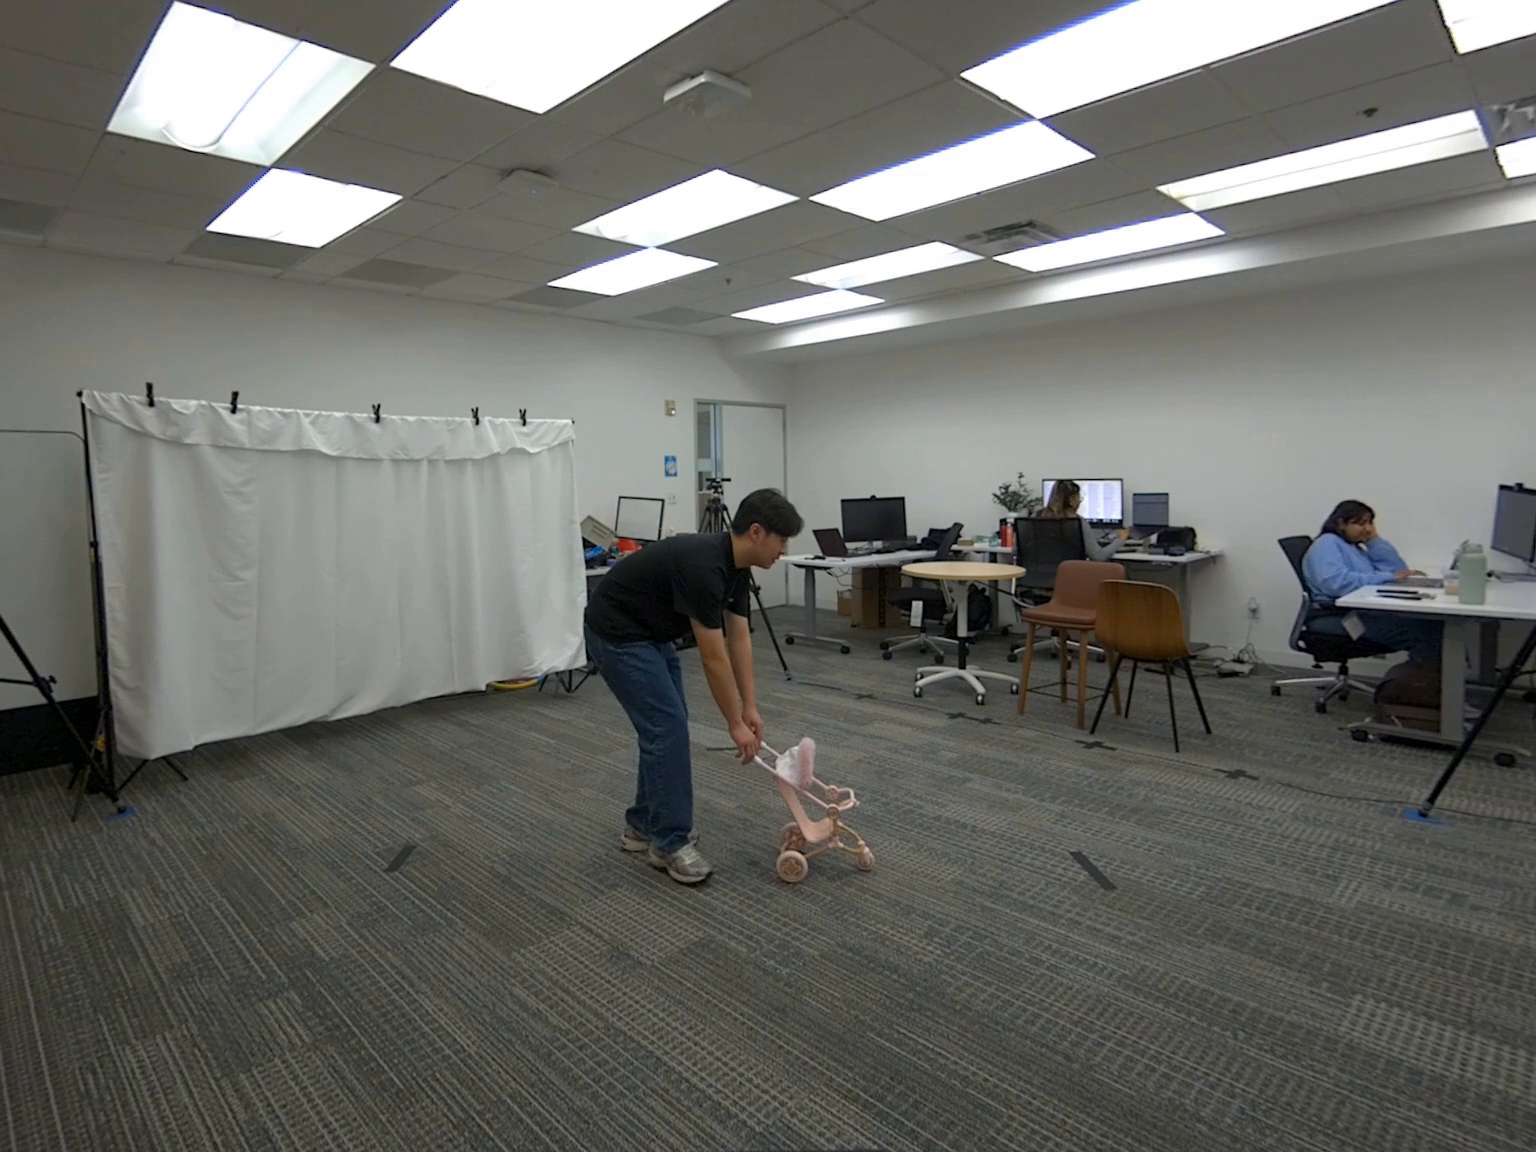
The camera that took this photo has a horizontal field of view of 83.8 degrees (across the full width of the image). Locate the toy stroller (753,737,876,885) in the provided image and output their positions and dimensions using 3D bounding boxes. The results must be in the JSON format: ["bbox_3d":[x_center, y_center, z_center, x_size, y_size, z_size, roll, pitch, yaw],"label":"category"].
[{"bbox_3d":[0.162,0.822,3.047,0.344,0.535,0.279,-16,0,12],"label":"toy stroller"}]
